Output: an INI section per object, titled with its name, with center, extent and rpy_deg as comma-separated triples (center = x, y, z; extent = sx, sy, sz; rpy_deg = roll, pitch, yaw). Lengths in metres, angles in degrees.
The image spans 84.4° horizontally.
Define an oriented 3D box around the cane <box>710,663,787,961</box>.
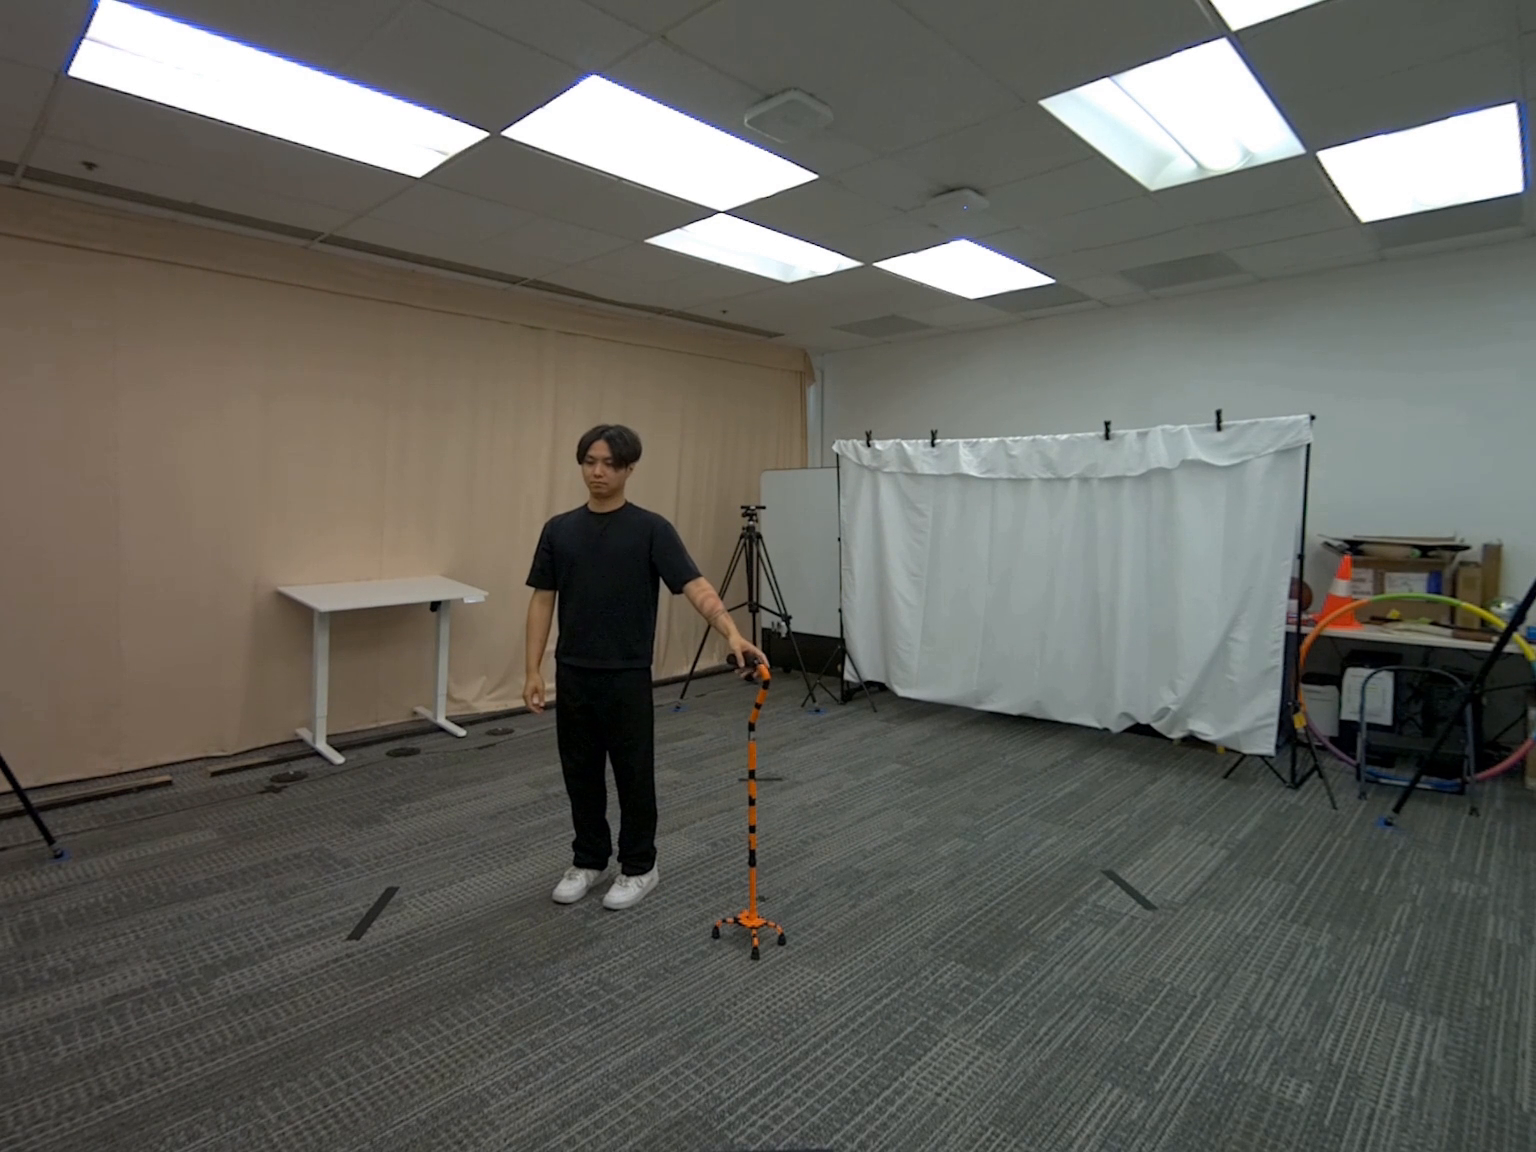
[cane]
center = -0.061, 0.718, 2.674
extent = 0.213, 0.906, 0.147
rpy_deg = 3, 4, 44
